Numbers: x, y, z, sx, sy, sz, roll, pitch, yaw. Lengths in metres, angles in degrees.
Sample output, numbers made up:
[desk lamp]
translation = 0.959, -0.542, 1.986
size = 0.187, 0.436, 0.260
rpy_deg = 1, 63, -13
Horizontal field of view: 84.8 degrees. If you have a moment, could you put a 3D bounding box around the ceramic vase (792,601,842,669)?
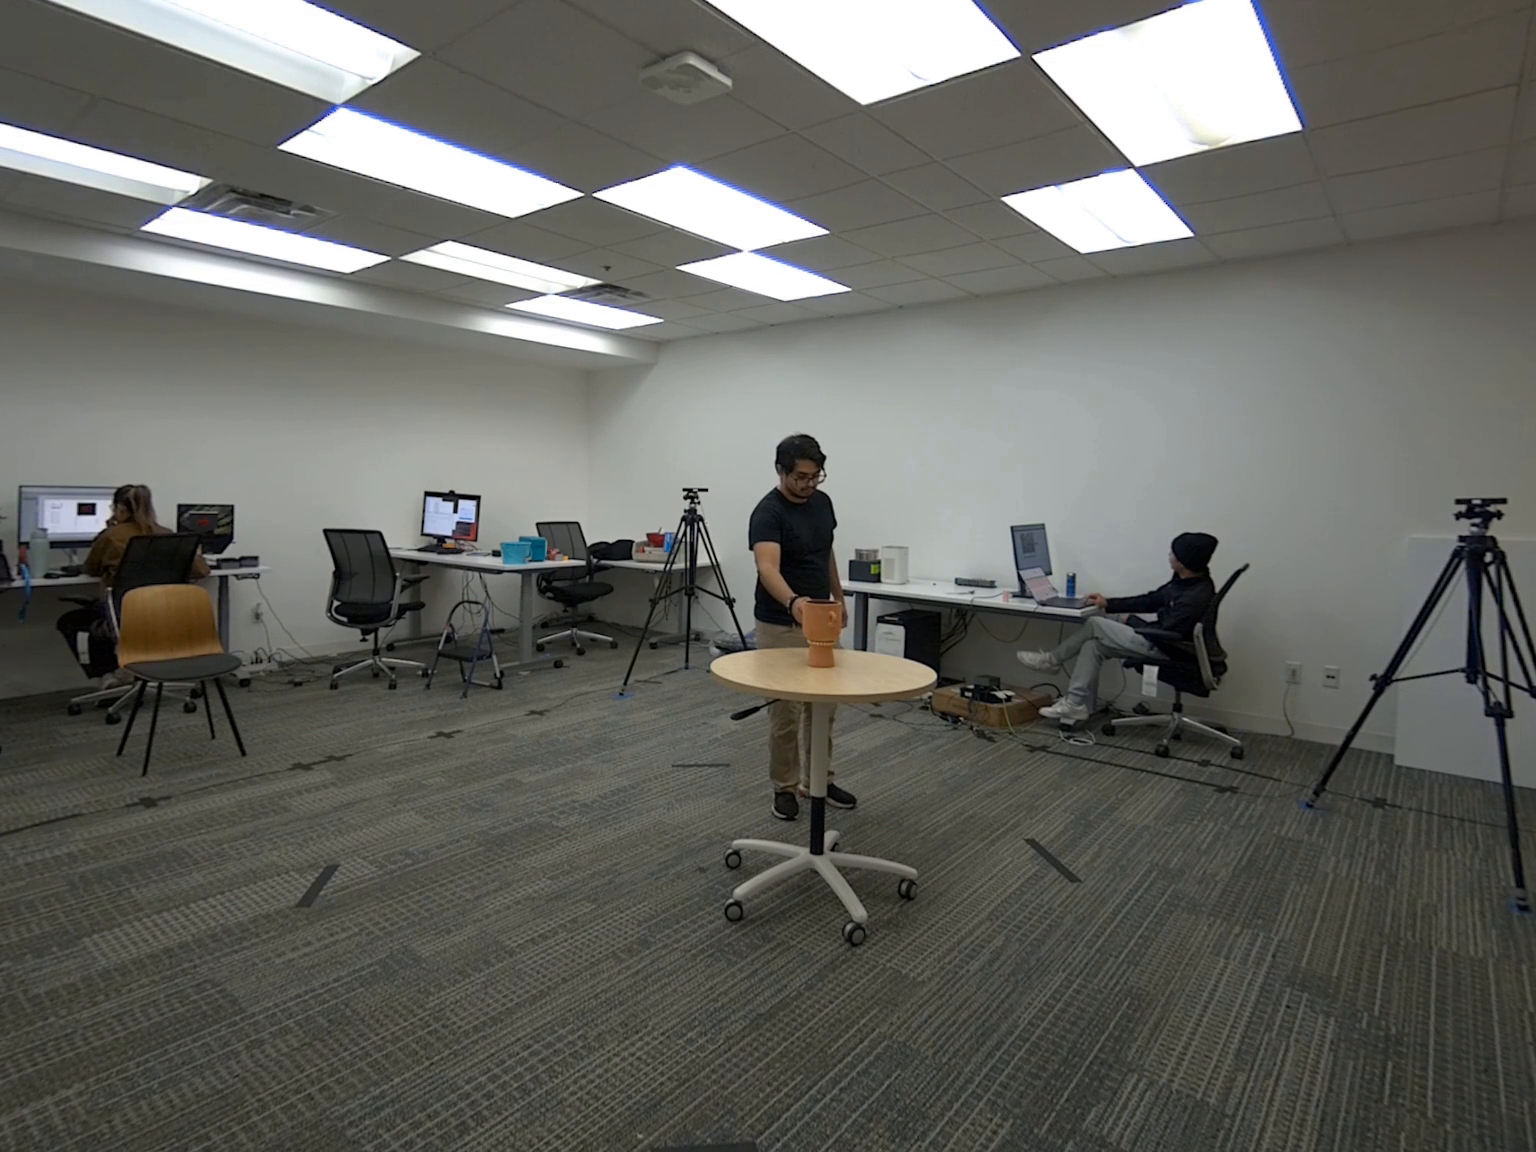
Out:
[ceramic vase]
translation = 0.171, 0.196, 2.963
size = 0.137, 0.219, 0.156
rpy_deg = 0, 3, 19
